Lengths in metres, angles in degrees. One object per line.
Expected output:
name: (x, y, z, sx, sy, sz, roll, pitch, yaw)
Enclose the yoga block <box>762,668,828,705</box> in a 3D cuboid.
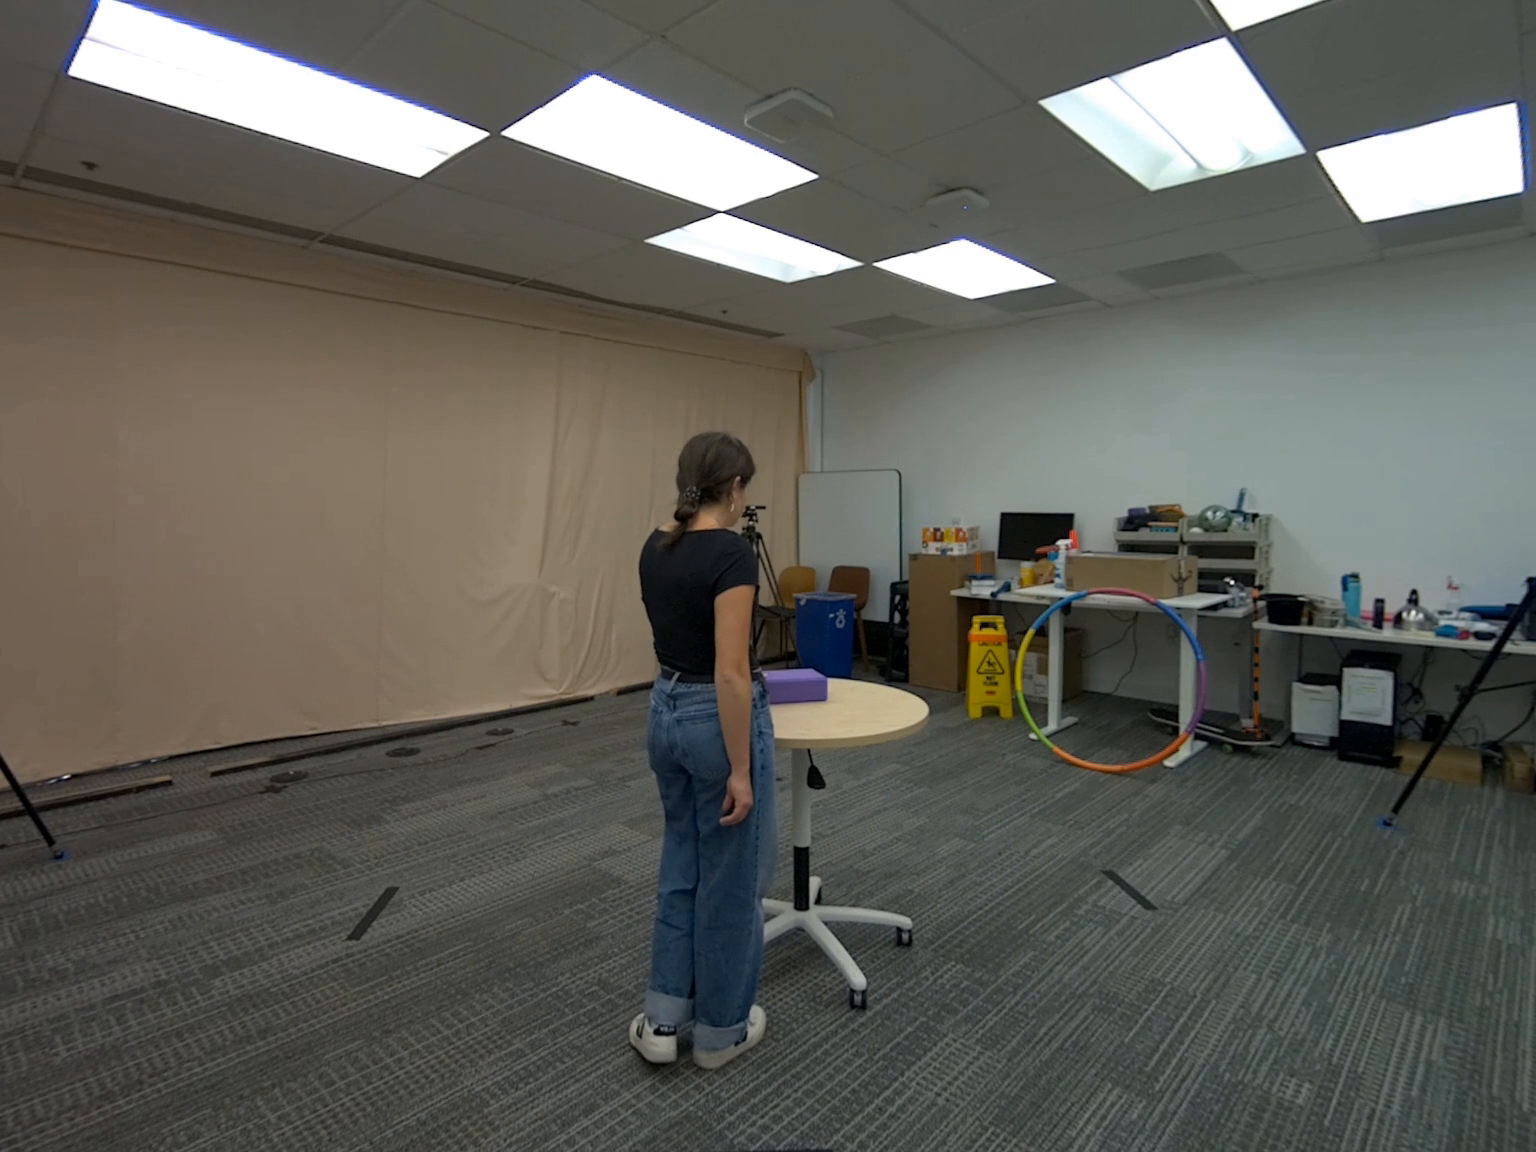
yoga block: (0.064, 0.353, 2.654, 0.226, 0.076, 0.151, -1, 5, -12)
